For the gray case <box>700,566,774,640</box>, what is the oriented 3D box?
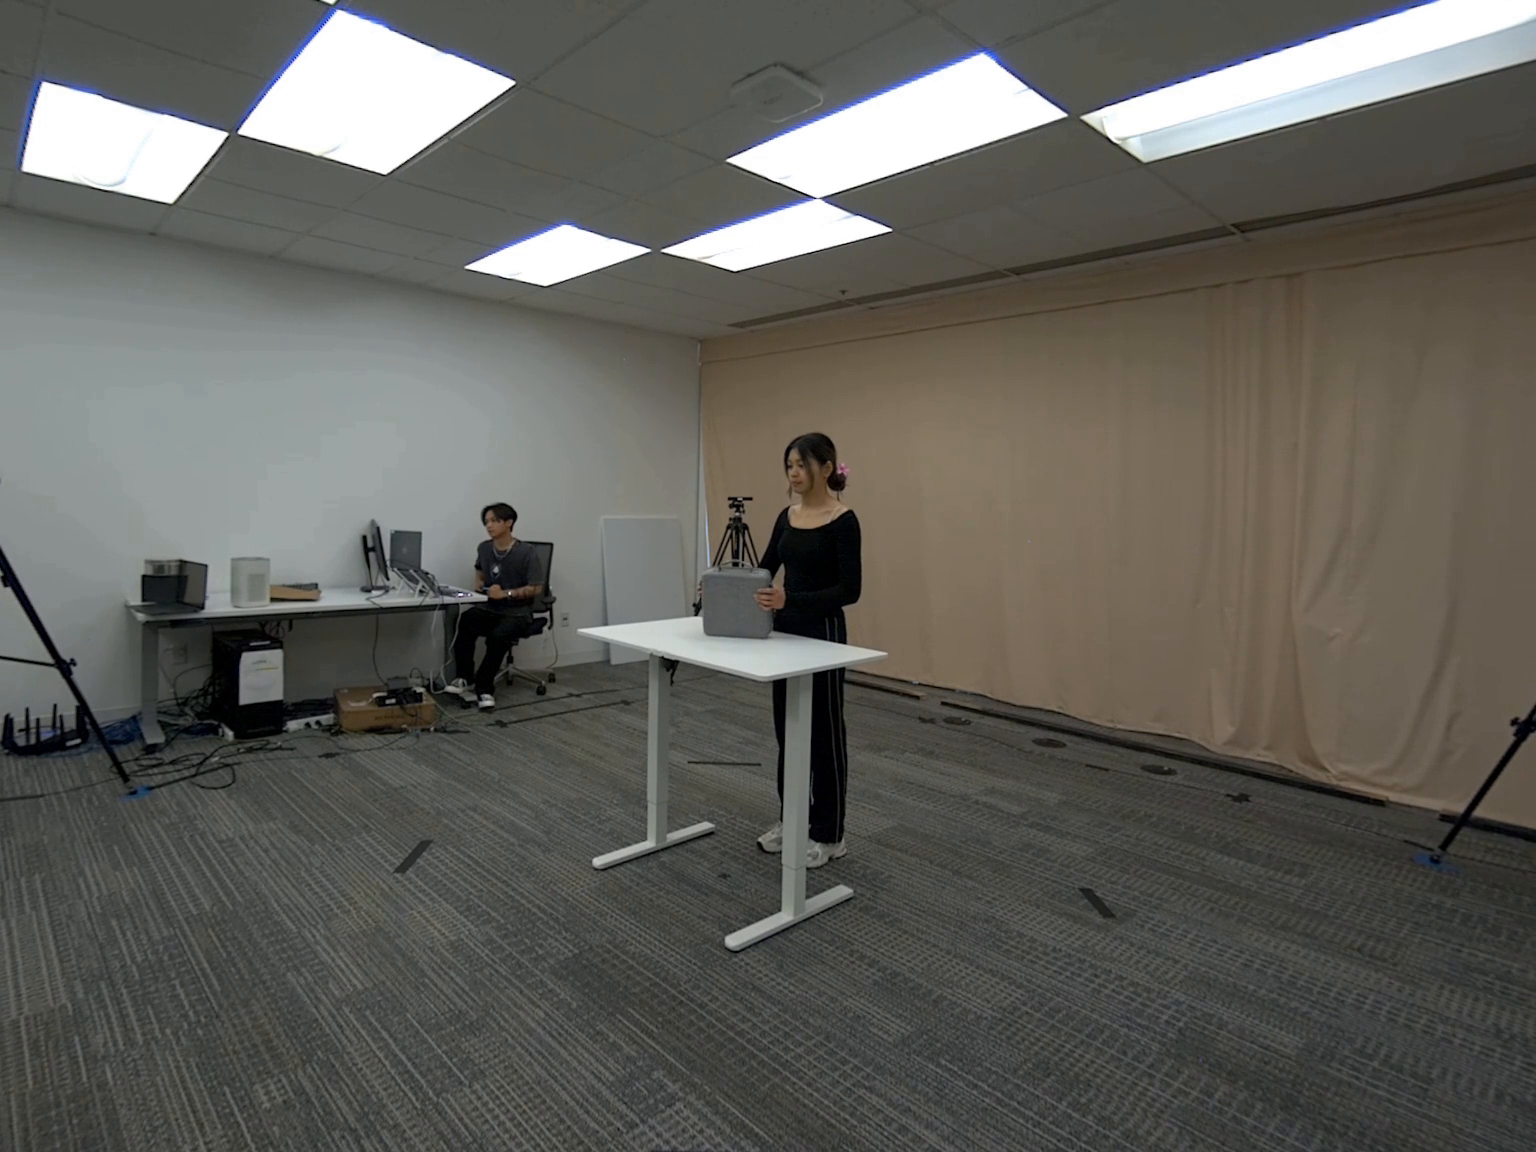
[{"bbox_3d":[-0.119,0.095,3.087,0.259,0.258,0.104,2,15,12],"label":"gray case"}]
